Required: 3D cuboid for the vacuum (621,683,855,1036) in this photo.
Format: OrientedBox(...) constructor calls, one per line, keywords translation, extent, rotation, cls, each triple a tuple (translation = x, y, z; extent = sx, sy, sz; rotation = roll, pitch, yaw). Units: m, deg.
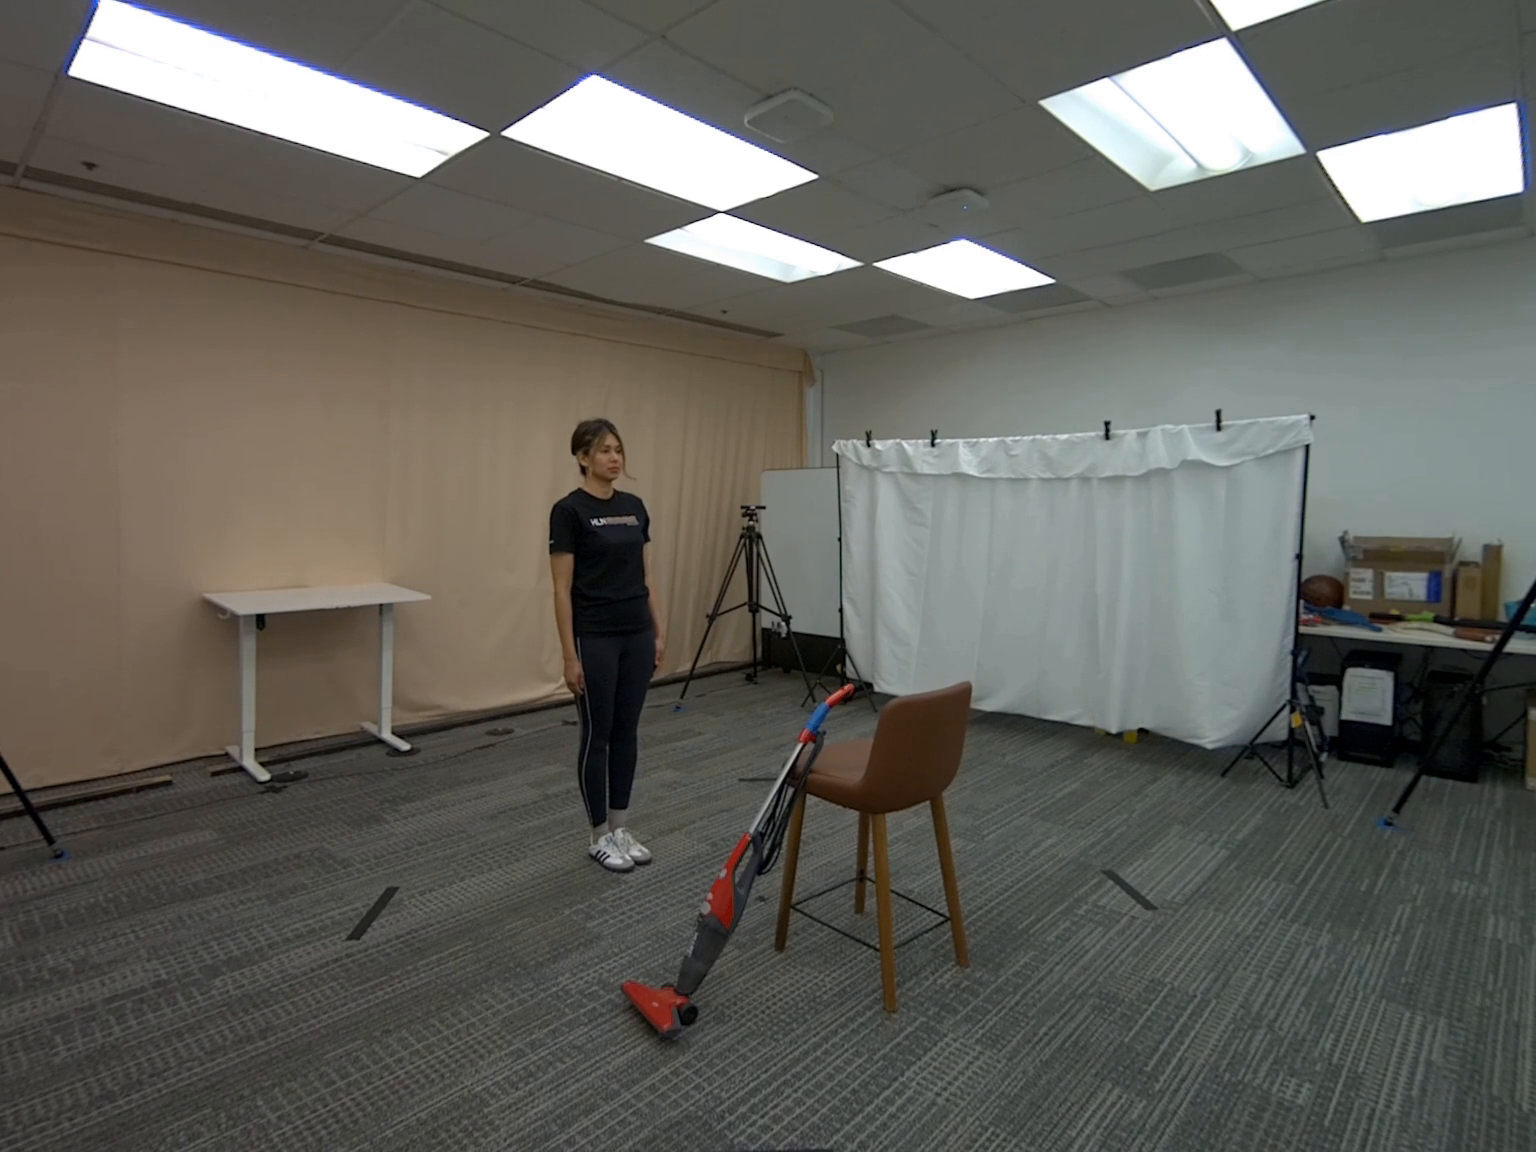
OrientedBox(translation=(-0.028, 0.773, 2.430), extent=(0.261, 1.048, 0.139), rotation=(10, -29, 51), cls="vacuum")
